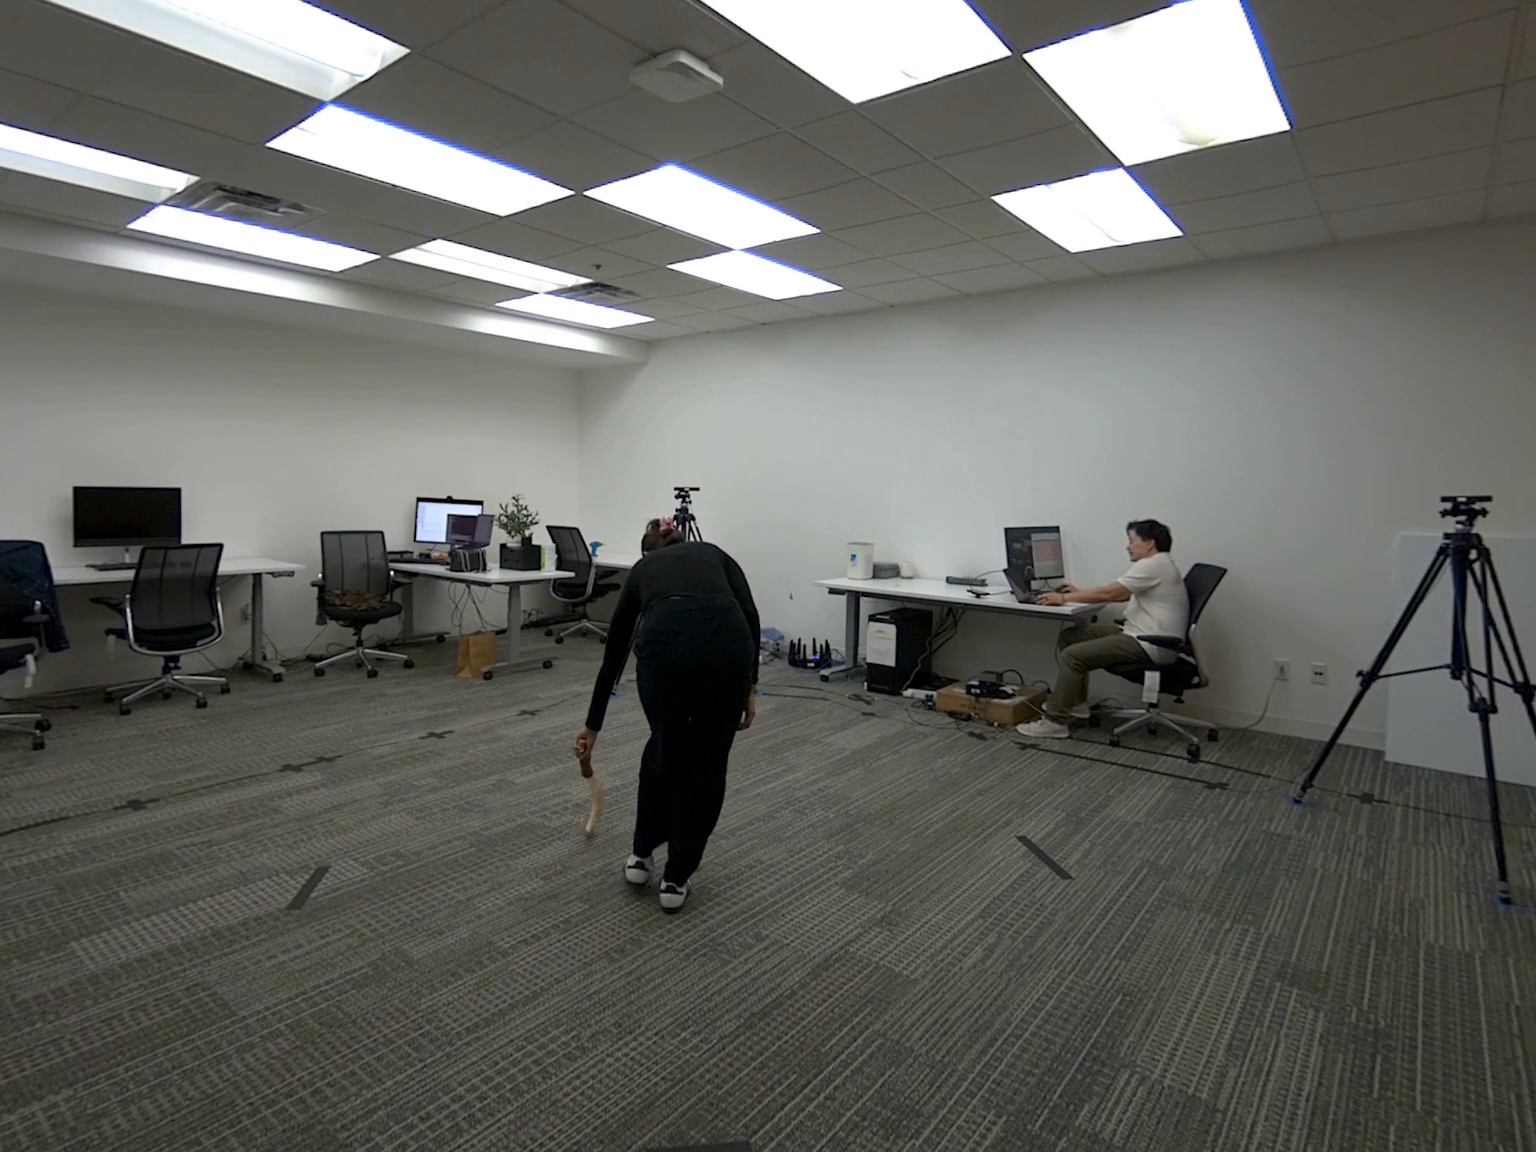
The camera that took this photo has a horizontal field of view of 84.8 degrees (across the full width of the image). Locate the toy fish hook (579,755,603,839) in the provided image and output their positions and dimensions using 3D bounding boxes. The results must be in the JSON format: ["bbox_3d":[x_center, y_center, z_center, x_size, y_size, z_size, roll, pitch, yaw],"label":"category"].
[{"bbox_3d":[-0.710,0.823,3.260,0.048,0.491,0.230,1,43,2],"label":"toy fish hook"}]
